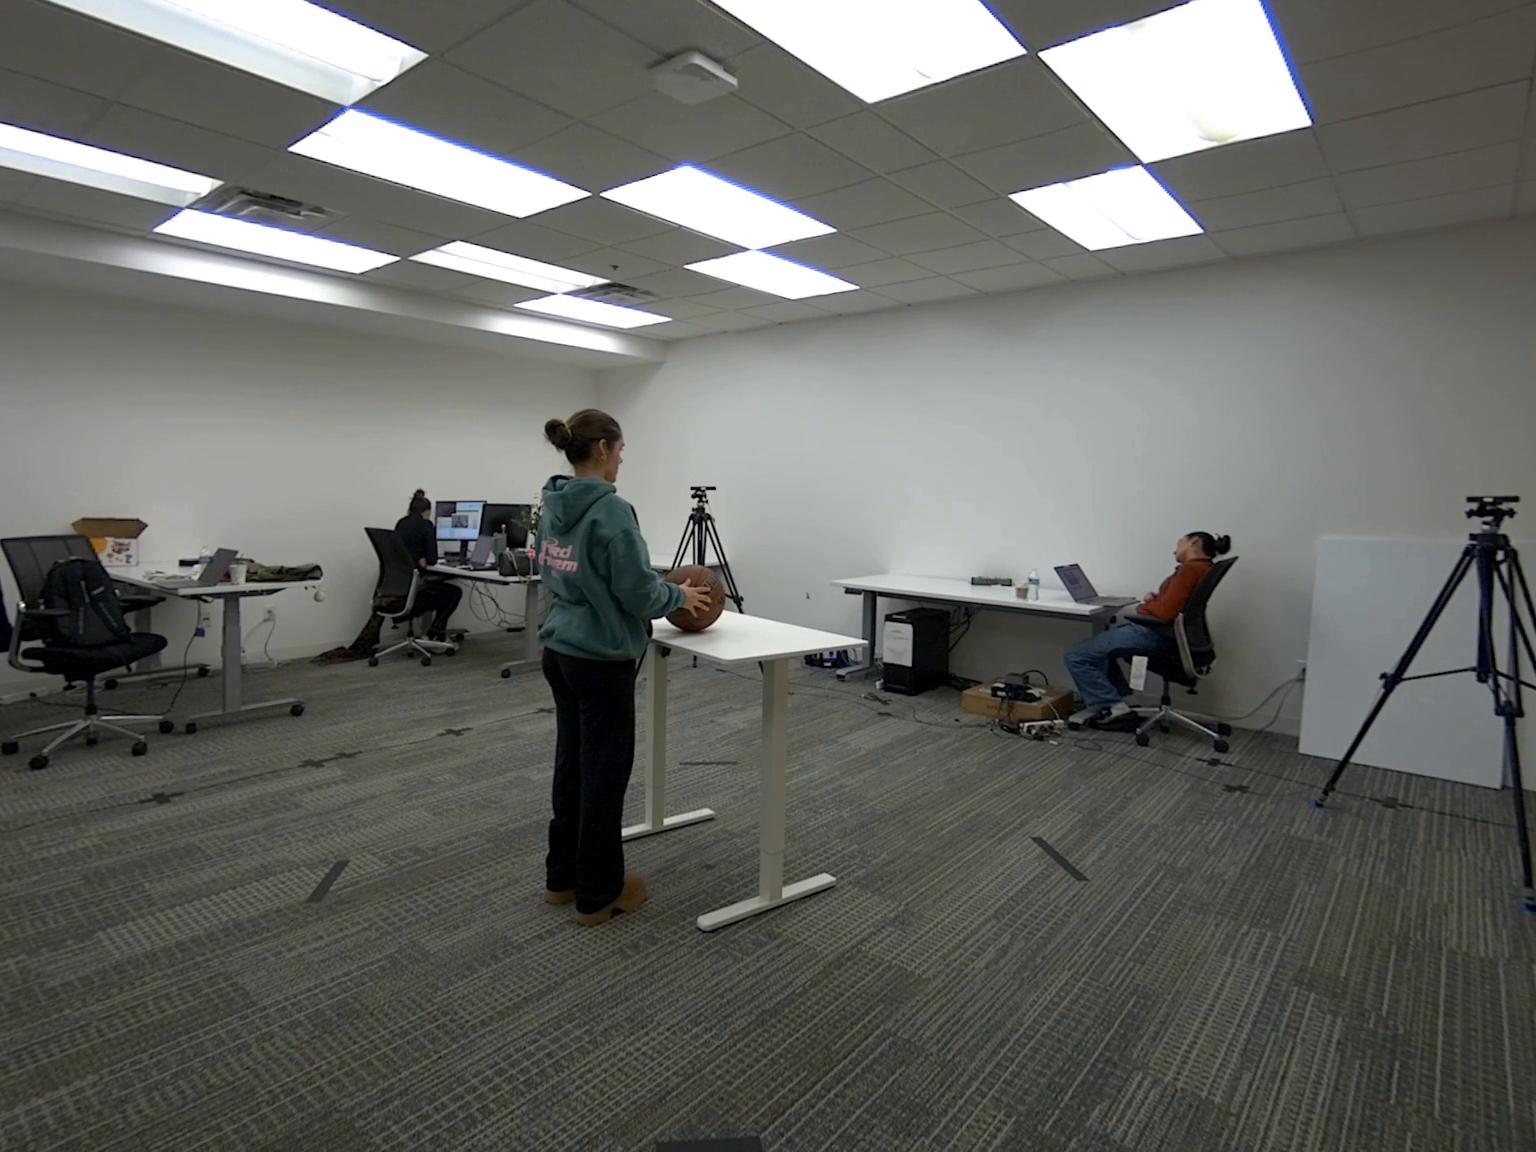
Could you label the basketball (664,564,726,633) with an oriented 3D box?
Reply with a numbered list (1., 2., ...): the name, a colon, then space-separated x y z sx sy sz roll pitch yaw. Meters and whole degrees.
1. basketball: -0.277 0.076 3.008 0.235 0.235 0.237 1 4 -2
